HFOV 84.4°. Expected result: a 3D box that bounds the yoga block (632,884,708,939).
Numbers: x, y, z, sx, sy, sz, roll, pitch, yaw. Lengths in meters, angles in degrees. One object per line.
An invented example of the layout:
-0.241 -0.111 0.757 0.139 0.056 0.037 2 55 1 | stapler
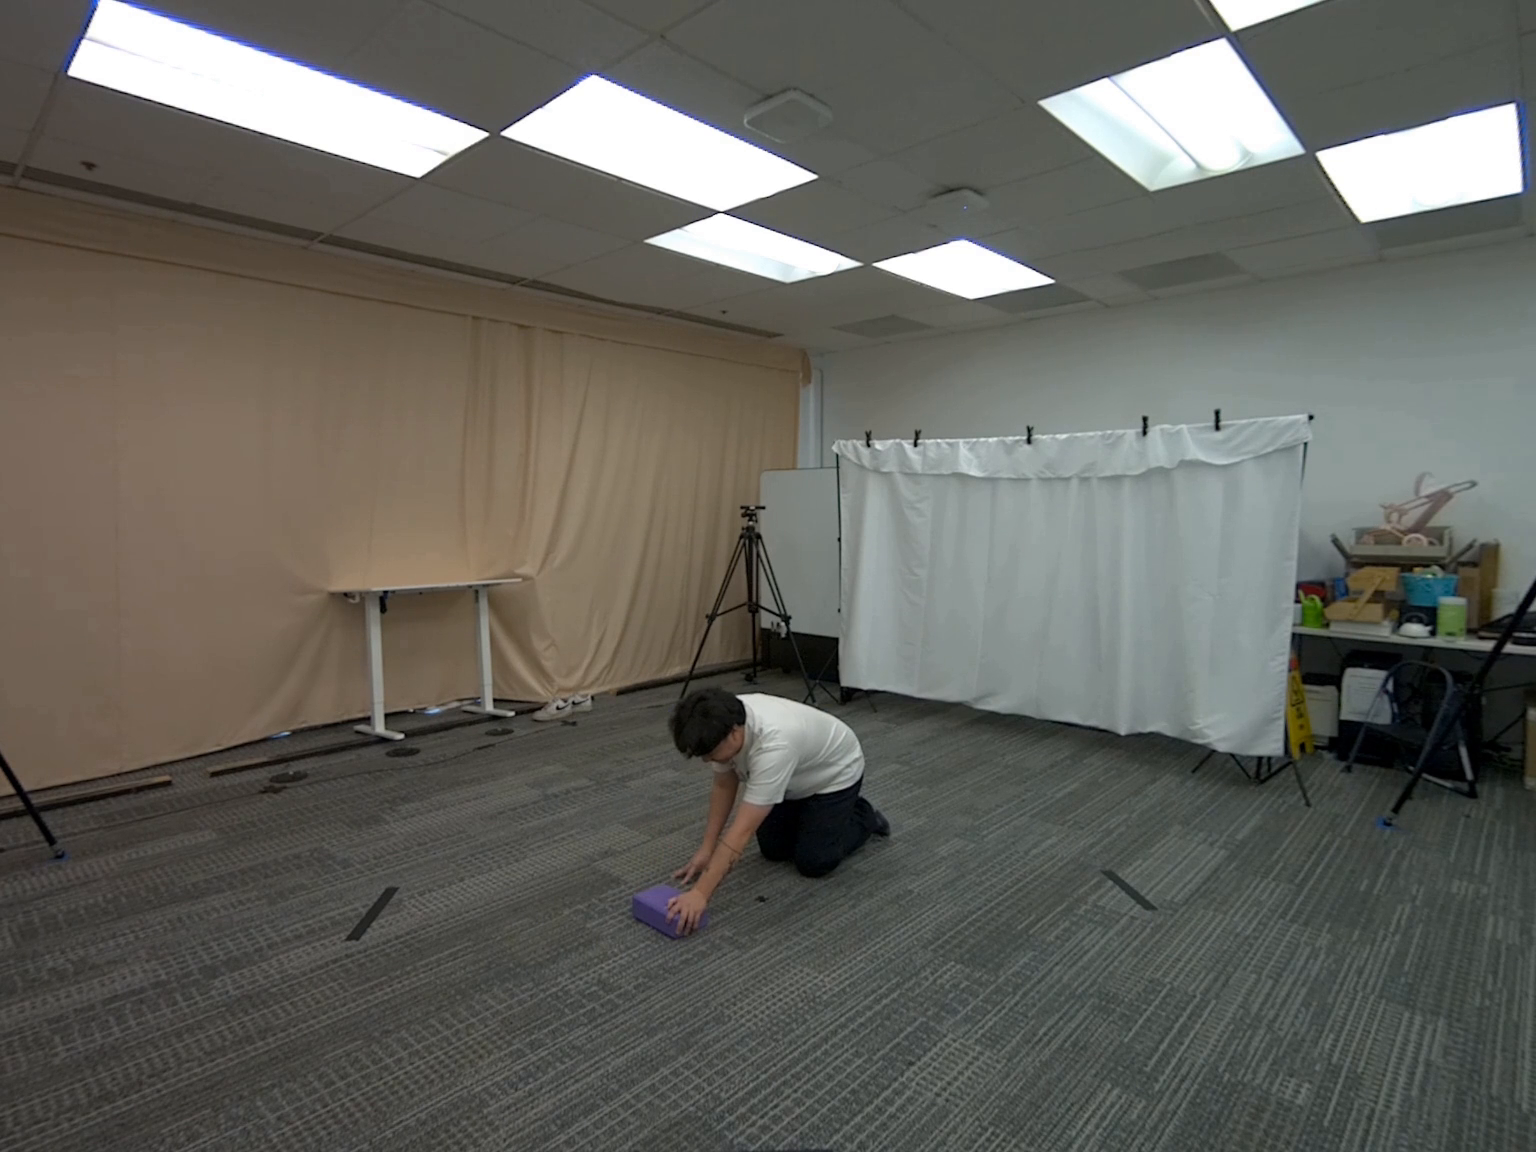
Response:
-0.331 1.123 2.827 0.237 0.076 0.144 7 7 43 | yoga block
